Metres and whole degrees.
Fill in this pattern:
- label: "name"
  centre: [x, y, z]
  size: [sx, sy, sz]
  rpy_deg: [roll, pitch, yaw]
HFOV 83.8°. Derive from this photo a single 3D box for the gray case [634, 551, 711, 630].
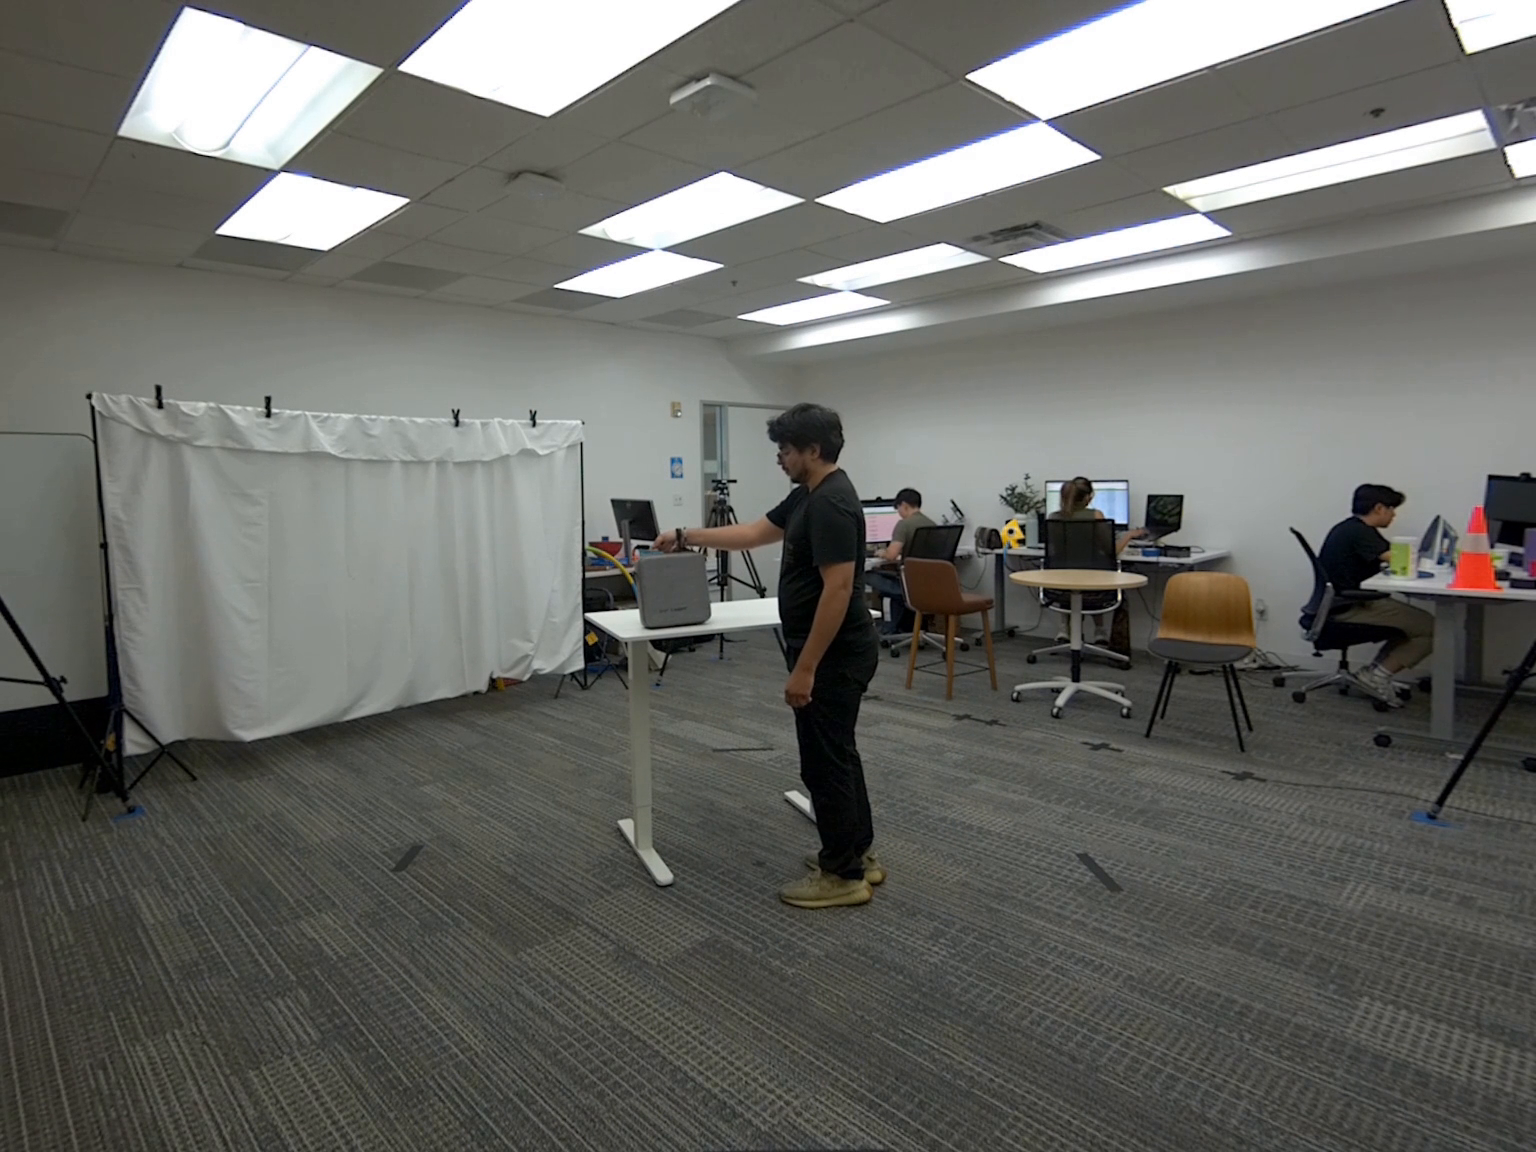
- label: "gray case"
  centre: [-0.339, 0.041, 3.058]
  size: [0.252, 0.261, 0.106]
  rpy_deg: [-3, -4, -21]
